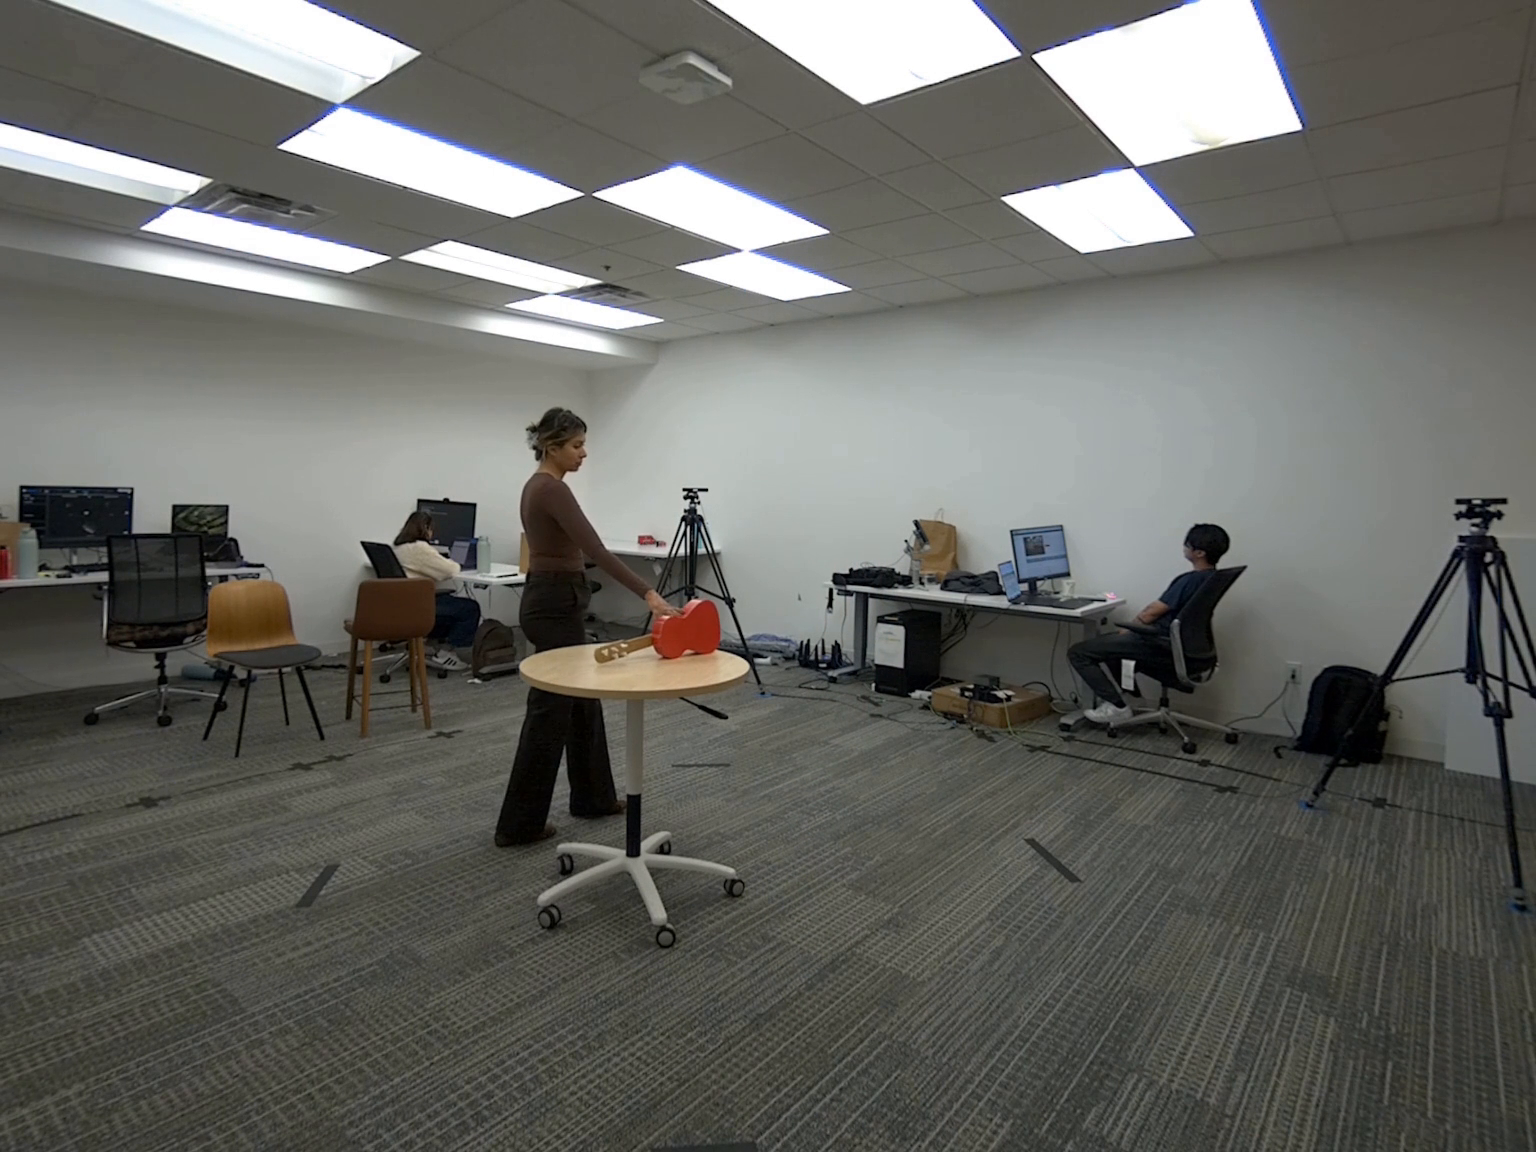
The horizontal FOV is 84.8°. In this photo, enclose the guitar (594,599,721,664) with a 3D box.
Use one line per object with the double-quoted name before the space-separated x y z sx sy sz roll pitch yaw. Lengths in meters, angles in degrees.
"guitar" -0.381 0.244 2.955 0.490 0.190 0.073 -26 18 -37
